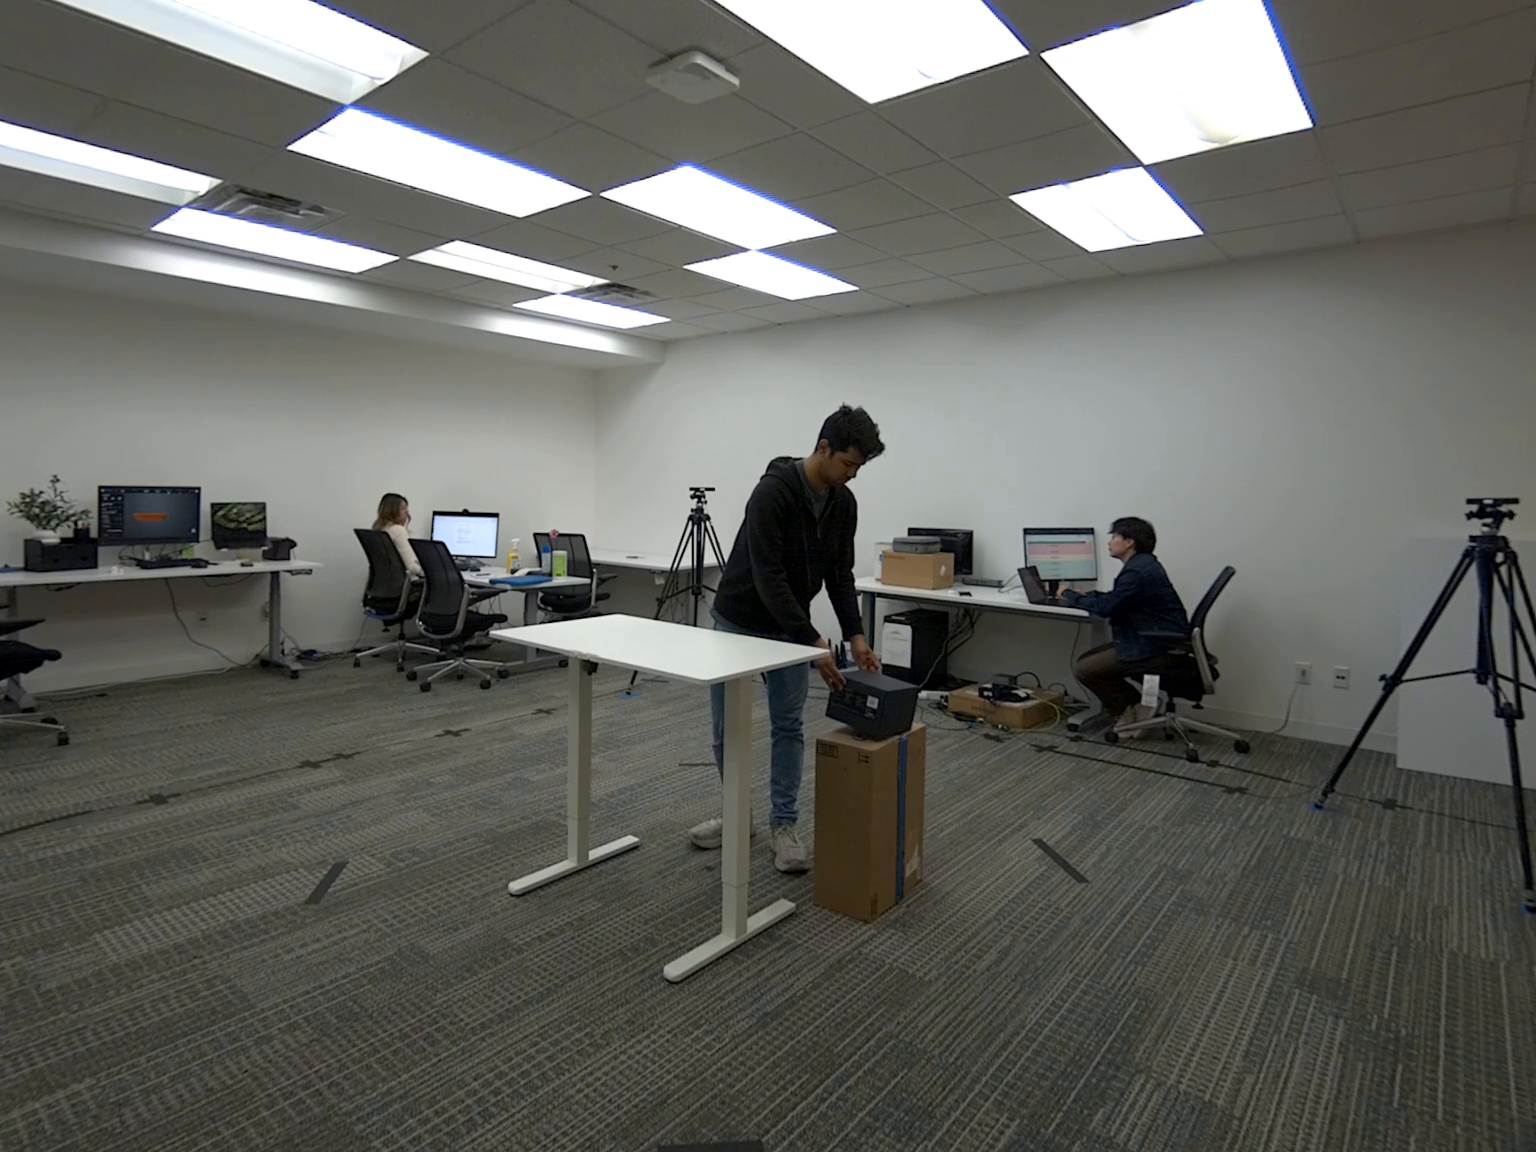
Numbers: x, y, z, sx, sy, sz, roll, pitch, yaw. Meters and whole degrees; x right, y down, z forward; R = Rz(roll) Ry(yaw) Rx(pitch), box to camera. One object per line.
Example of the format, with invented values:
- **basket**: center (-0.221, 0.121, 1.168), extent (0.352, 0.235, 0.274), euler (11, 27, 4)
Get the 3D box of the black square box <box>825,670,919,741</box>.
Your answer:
- **black square box**: center (0.355, 0.422, 2.925), extent (0.225, 0.155, 0.220), euler (11, 6, 39)
